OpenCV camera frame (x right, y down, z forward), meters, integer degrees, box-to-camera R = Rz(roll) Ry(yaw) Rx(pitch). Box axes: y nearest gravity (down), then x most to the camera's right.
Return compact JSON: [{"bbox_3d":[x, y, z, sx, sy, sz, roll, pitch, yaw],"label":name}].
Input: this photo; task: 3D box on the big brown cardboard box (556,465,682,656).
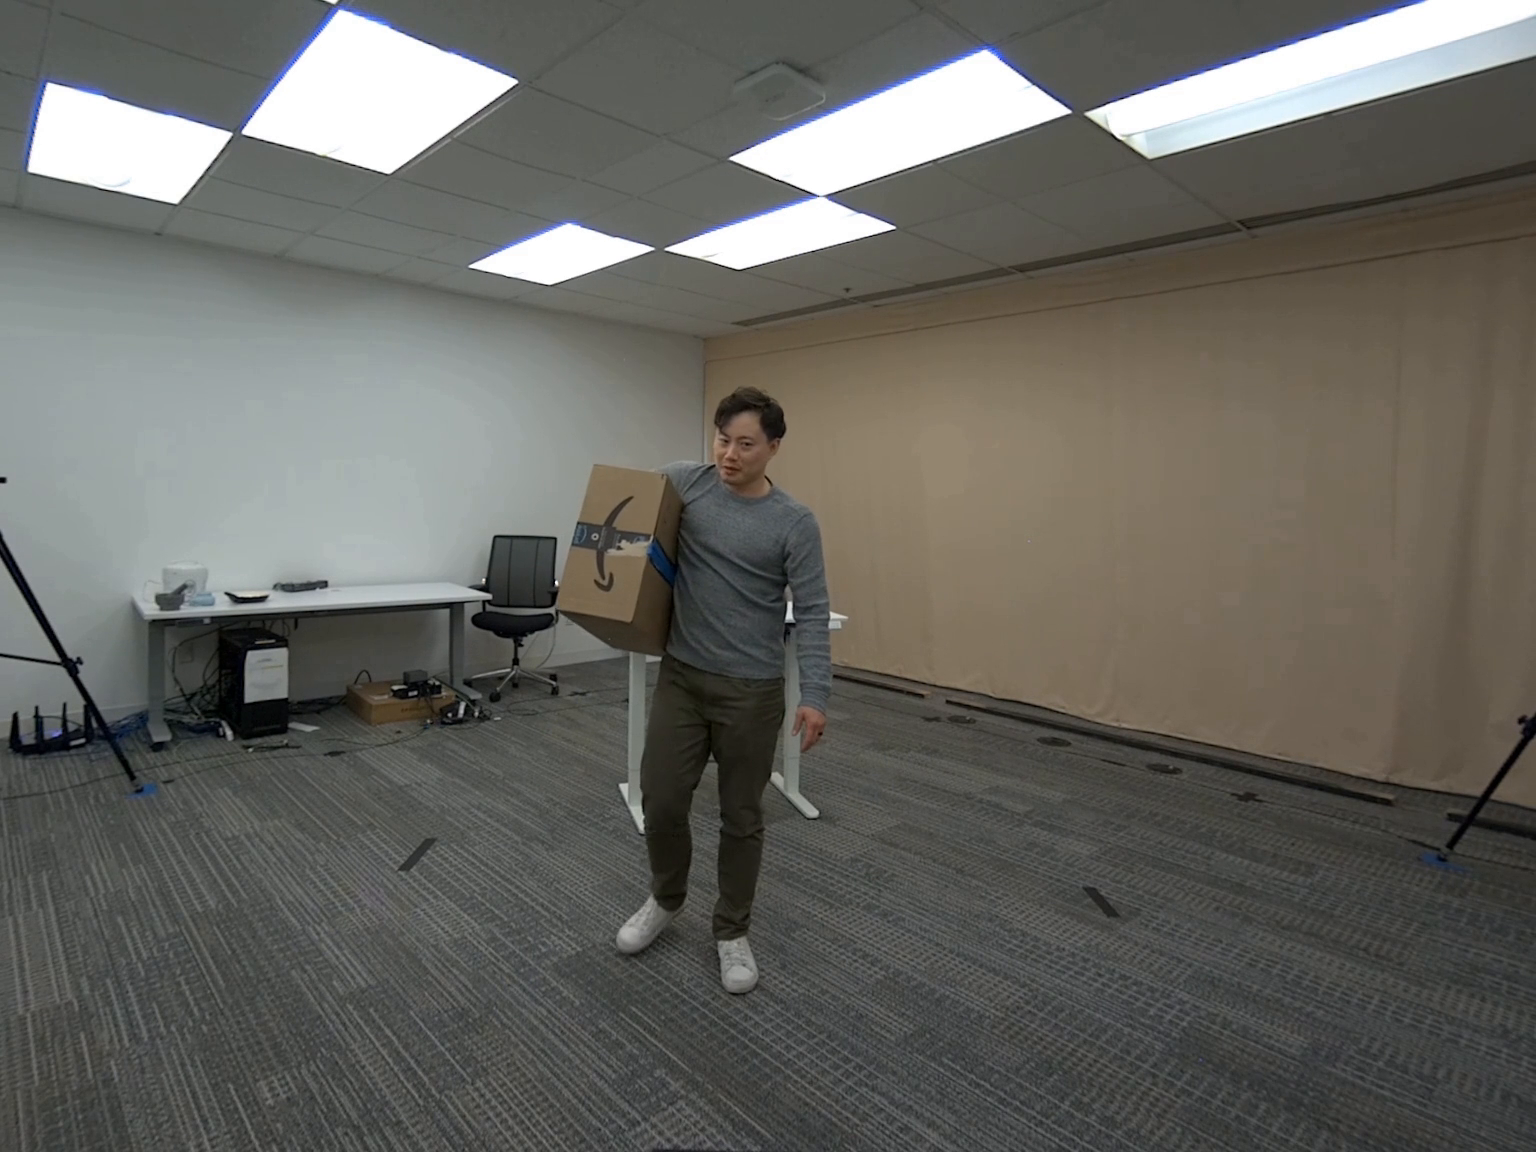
[{"bbox_3d":[-0.389,-0.013,2.472,0.235,0.421,0.579,9,-13,8],"label":"big brown cardboard box"}]
